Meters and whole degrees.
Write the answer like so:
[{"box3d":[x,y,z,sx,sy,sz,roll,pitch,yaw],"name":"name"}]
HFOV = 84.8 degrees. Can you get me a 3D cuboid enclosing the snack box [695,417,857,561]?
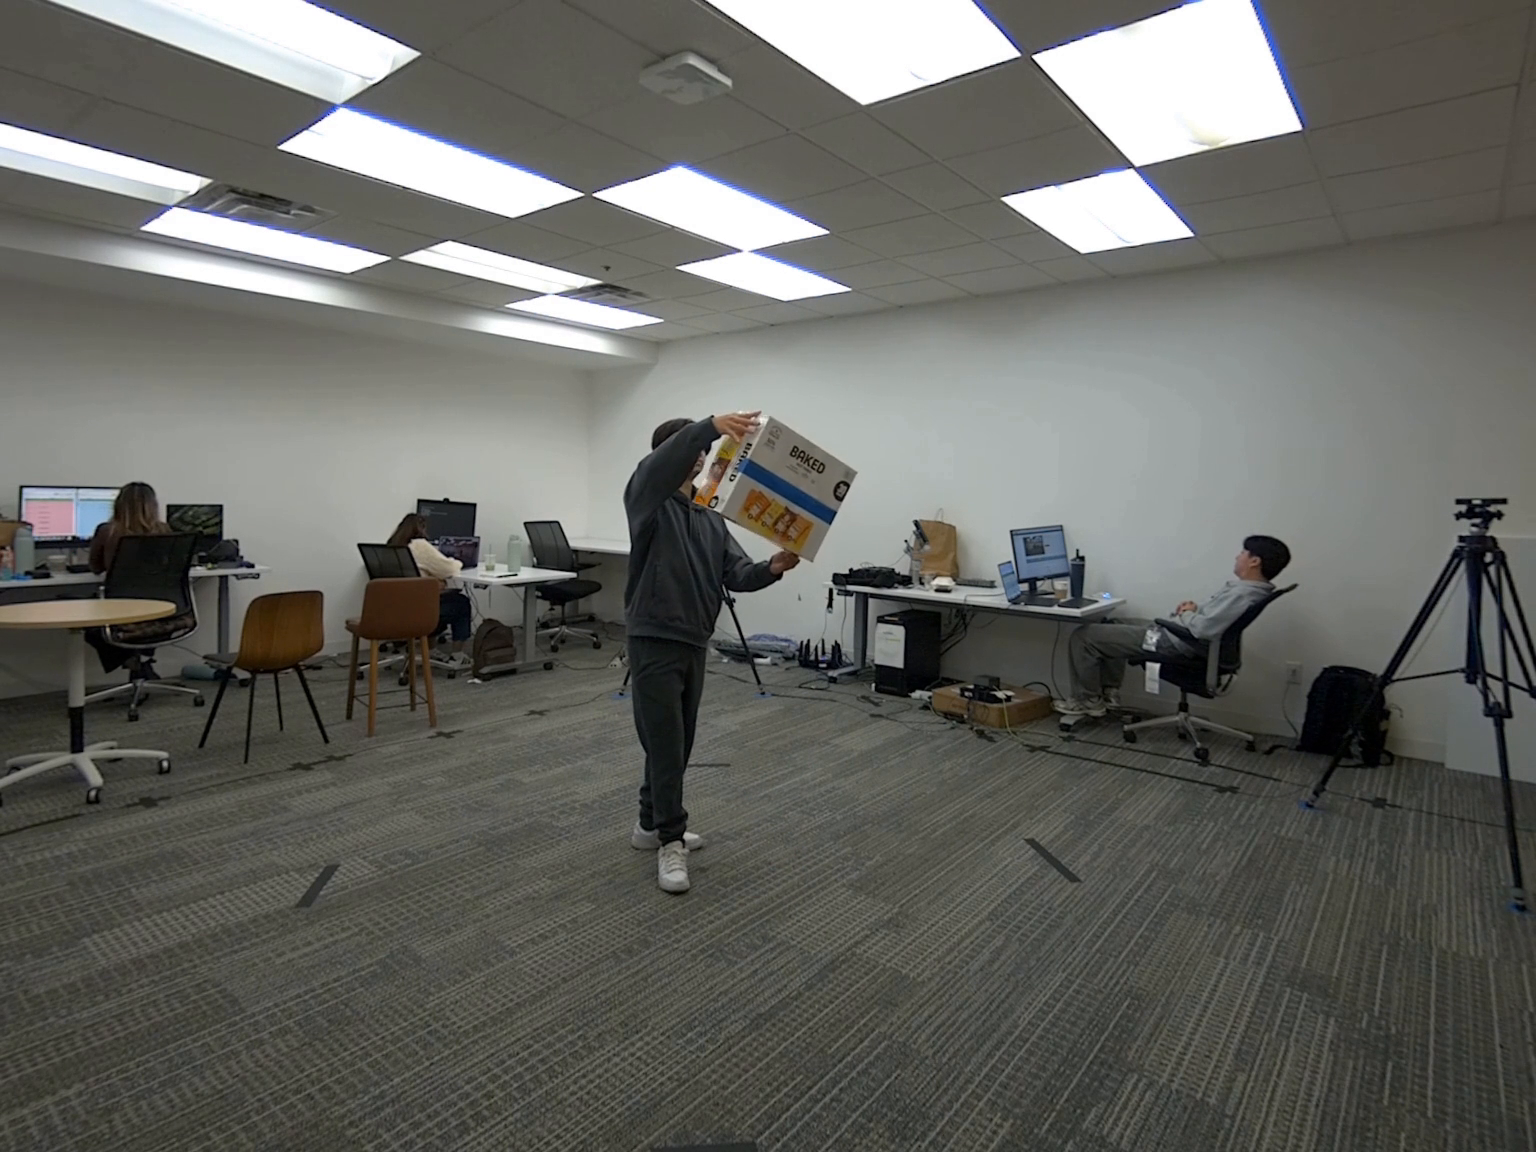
[{"box3d":[0.016,-0.298,2.815,0.390,0.340,0.213,27,-1,-32],"name":"snack box"}]
